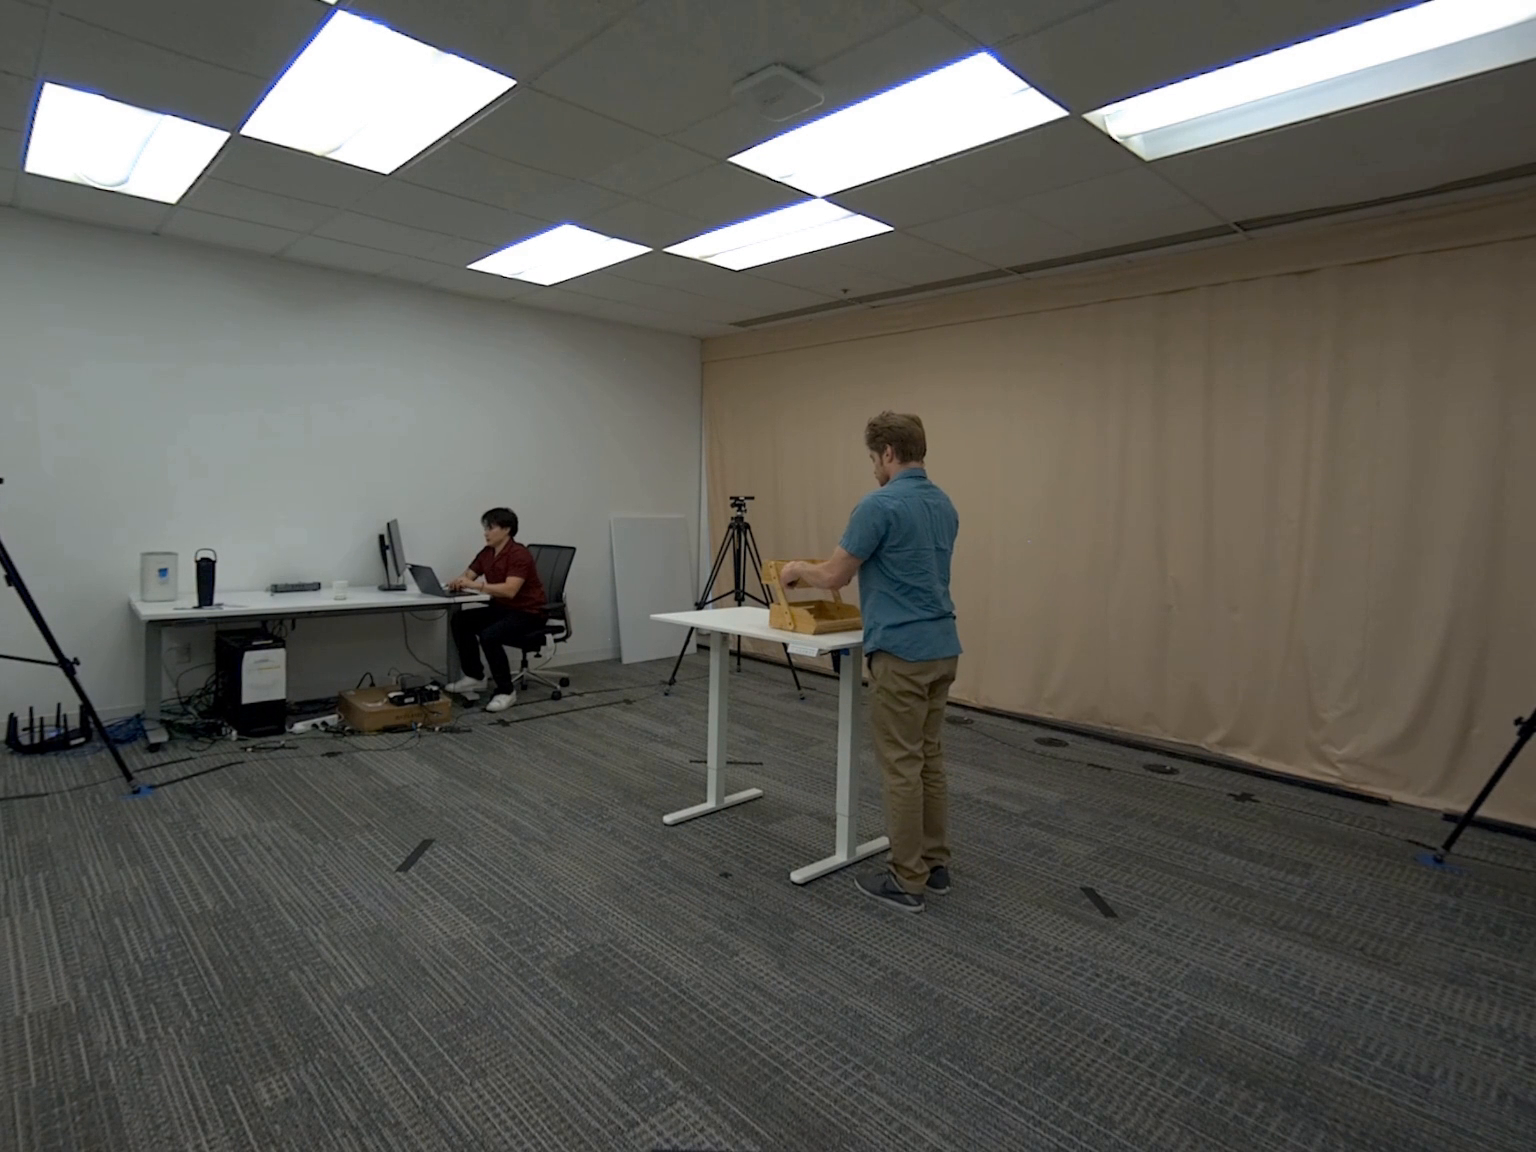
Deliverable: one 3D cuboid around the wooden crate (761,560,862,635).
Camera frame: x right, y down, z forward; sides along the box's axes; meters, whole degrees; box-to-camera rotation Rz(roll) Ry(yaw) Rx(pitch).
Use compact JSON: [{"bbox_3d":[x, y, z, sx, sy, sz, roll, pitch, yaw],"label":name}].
[{"bbox_3d":[0.178,0.073,3.337,0.317,0.273,0.310,-1,5,-43],"label":"wooden crate"}]
